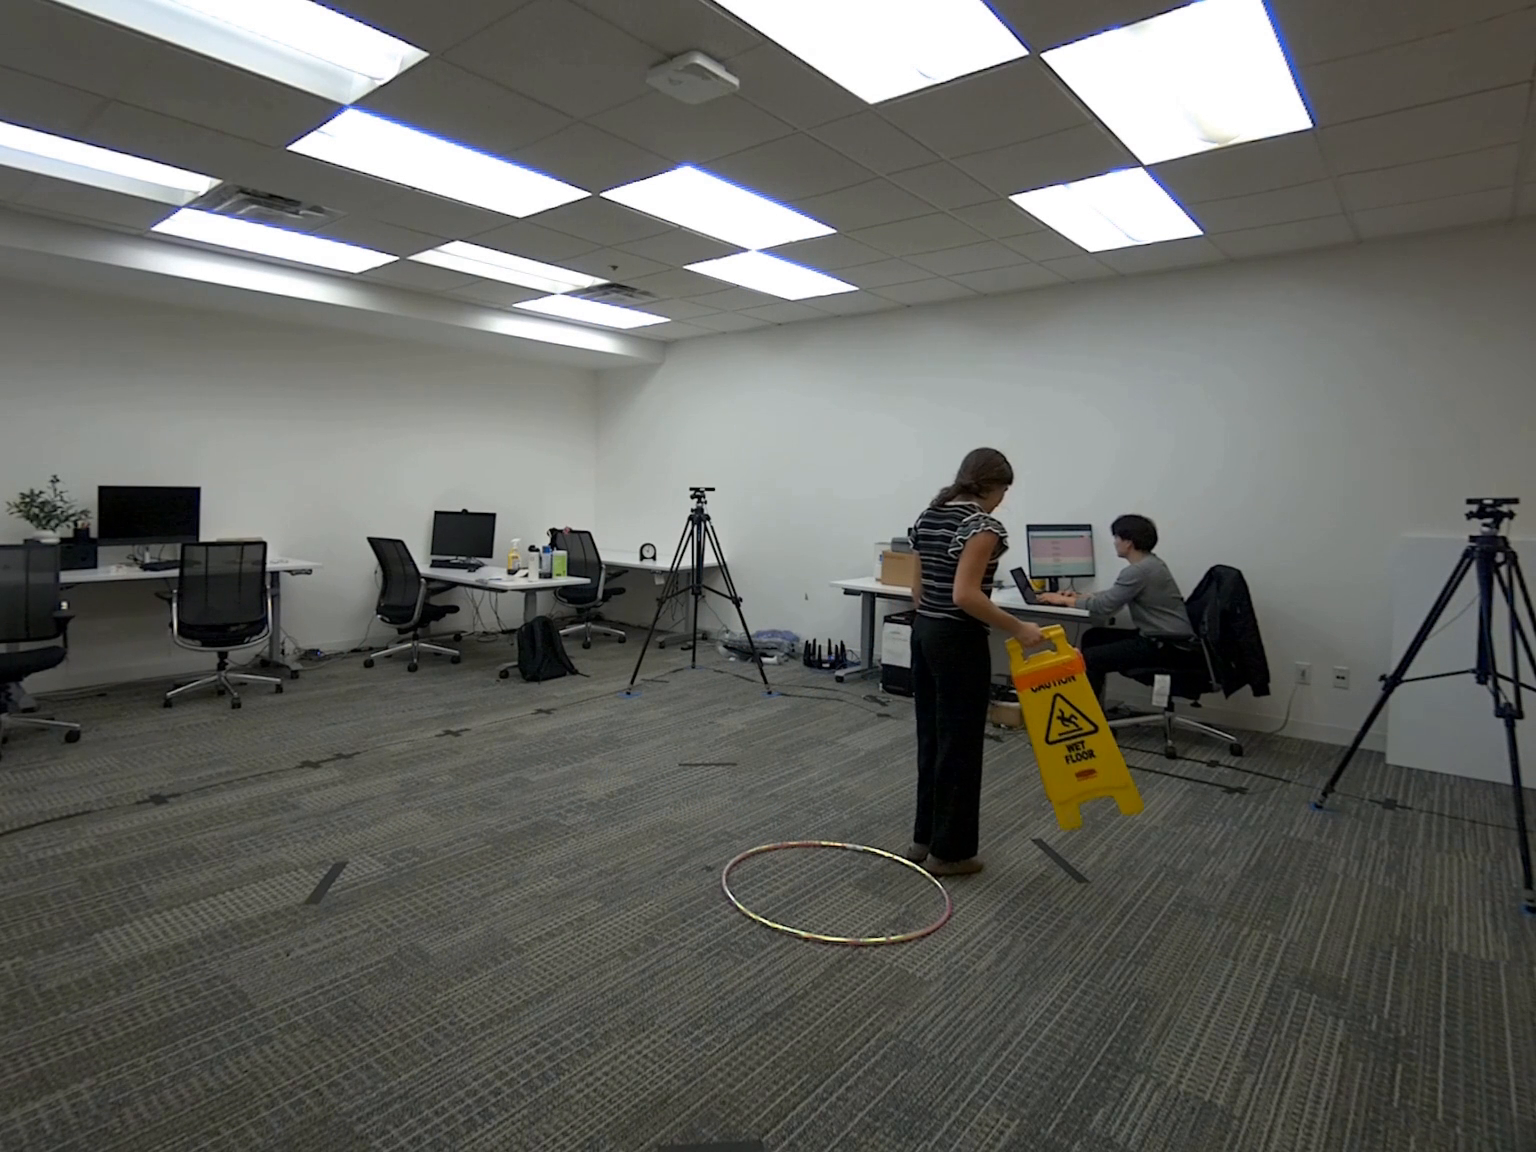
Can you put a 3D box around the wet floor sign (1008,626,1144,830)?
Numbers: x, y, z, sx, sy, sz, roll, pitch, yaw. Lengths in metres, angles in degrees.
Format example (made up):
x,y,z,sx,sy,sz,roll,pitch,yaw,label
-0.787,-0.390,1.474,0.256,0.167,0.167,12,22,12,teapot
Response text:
x,y,z,sx,sy,sz,roll,pitch,yaw,label
1.044,0.496,2.983,0.284,0.643,0.288,-19,3,11,wet floor sign
